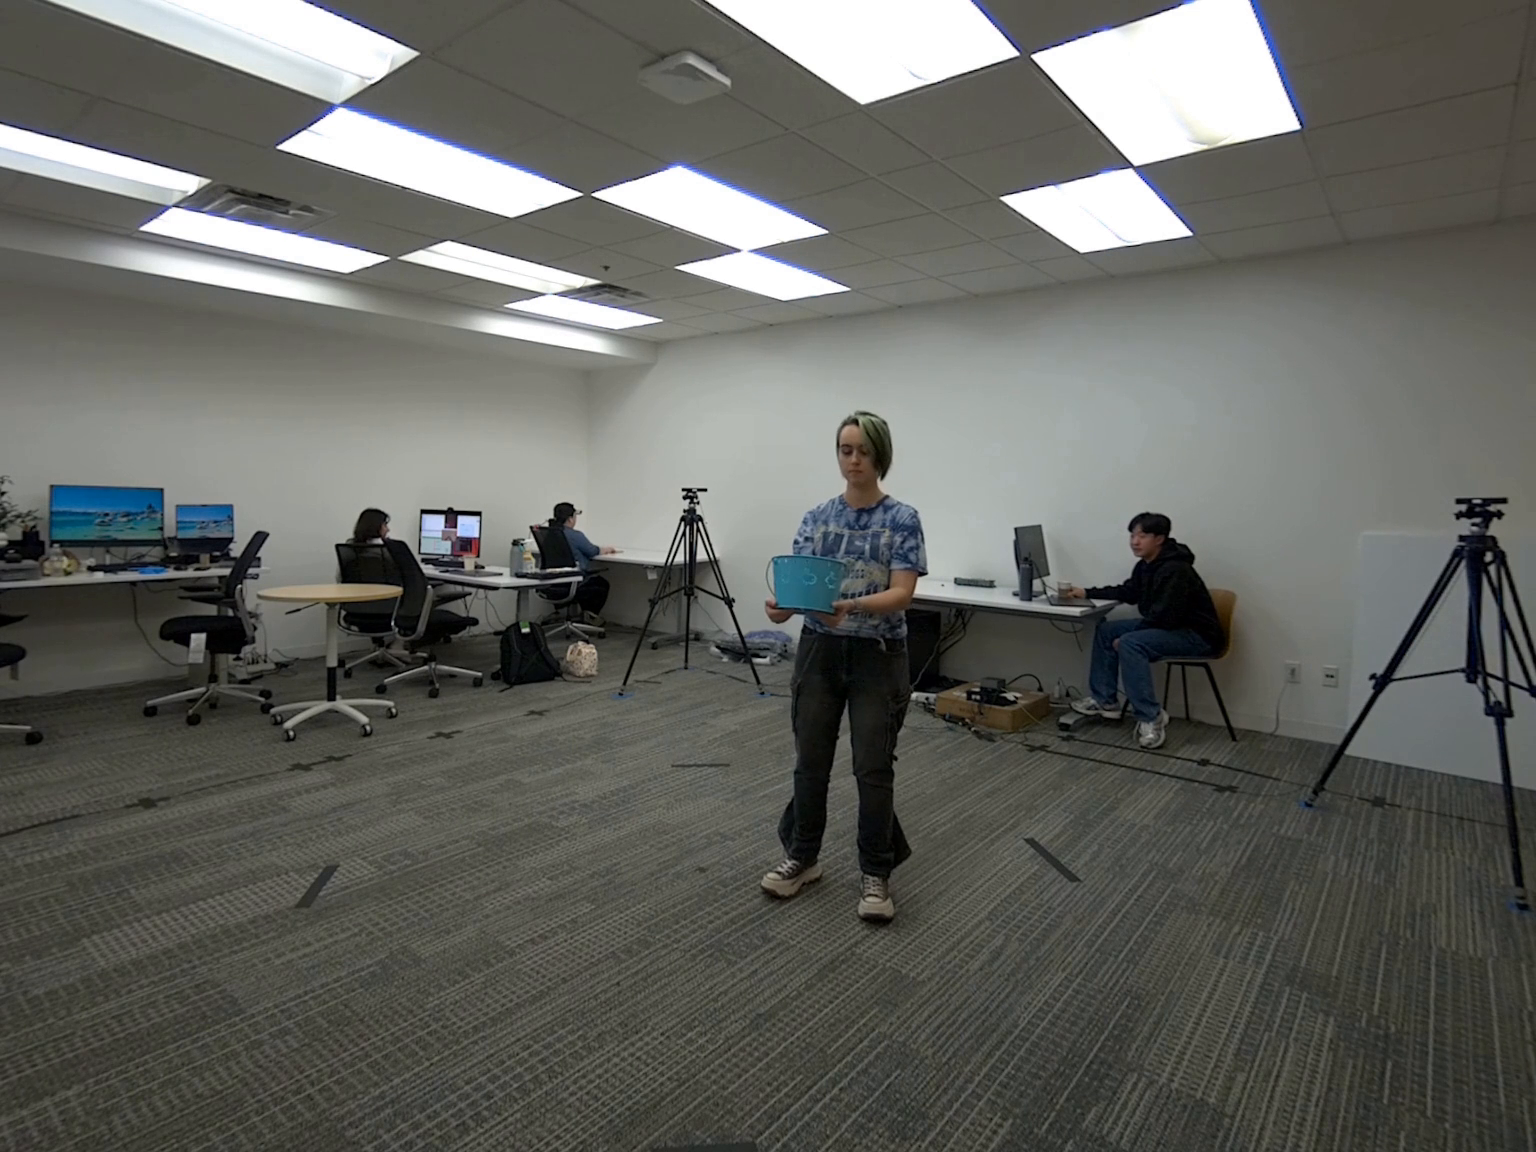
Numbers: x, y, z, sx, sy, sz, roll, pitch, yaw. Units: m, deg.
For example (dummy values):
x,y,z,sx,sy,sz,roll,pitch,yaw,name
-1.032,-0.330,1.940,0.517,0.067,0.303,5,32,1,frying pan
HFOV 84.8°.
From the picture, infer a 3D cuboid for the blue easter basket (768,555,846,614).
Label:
x,y,z,sx,sy,sz,roll,pitch,yaw,name
0.113,0.034,2.576,0.244,0.157,0.242,7,-7,-1,blue easter basket
